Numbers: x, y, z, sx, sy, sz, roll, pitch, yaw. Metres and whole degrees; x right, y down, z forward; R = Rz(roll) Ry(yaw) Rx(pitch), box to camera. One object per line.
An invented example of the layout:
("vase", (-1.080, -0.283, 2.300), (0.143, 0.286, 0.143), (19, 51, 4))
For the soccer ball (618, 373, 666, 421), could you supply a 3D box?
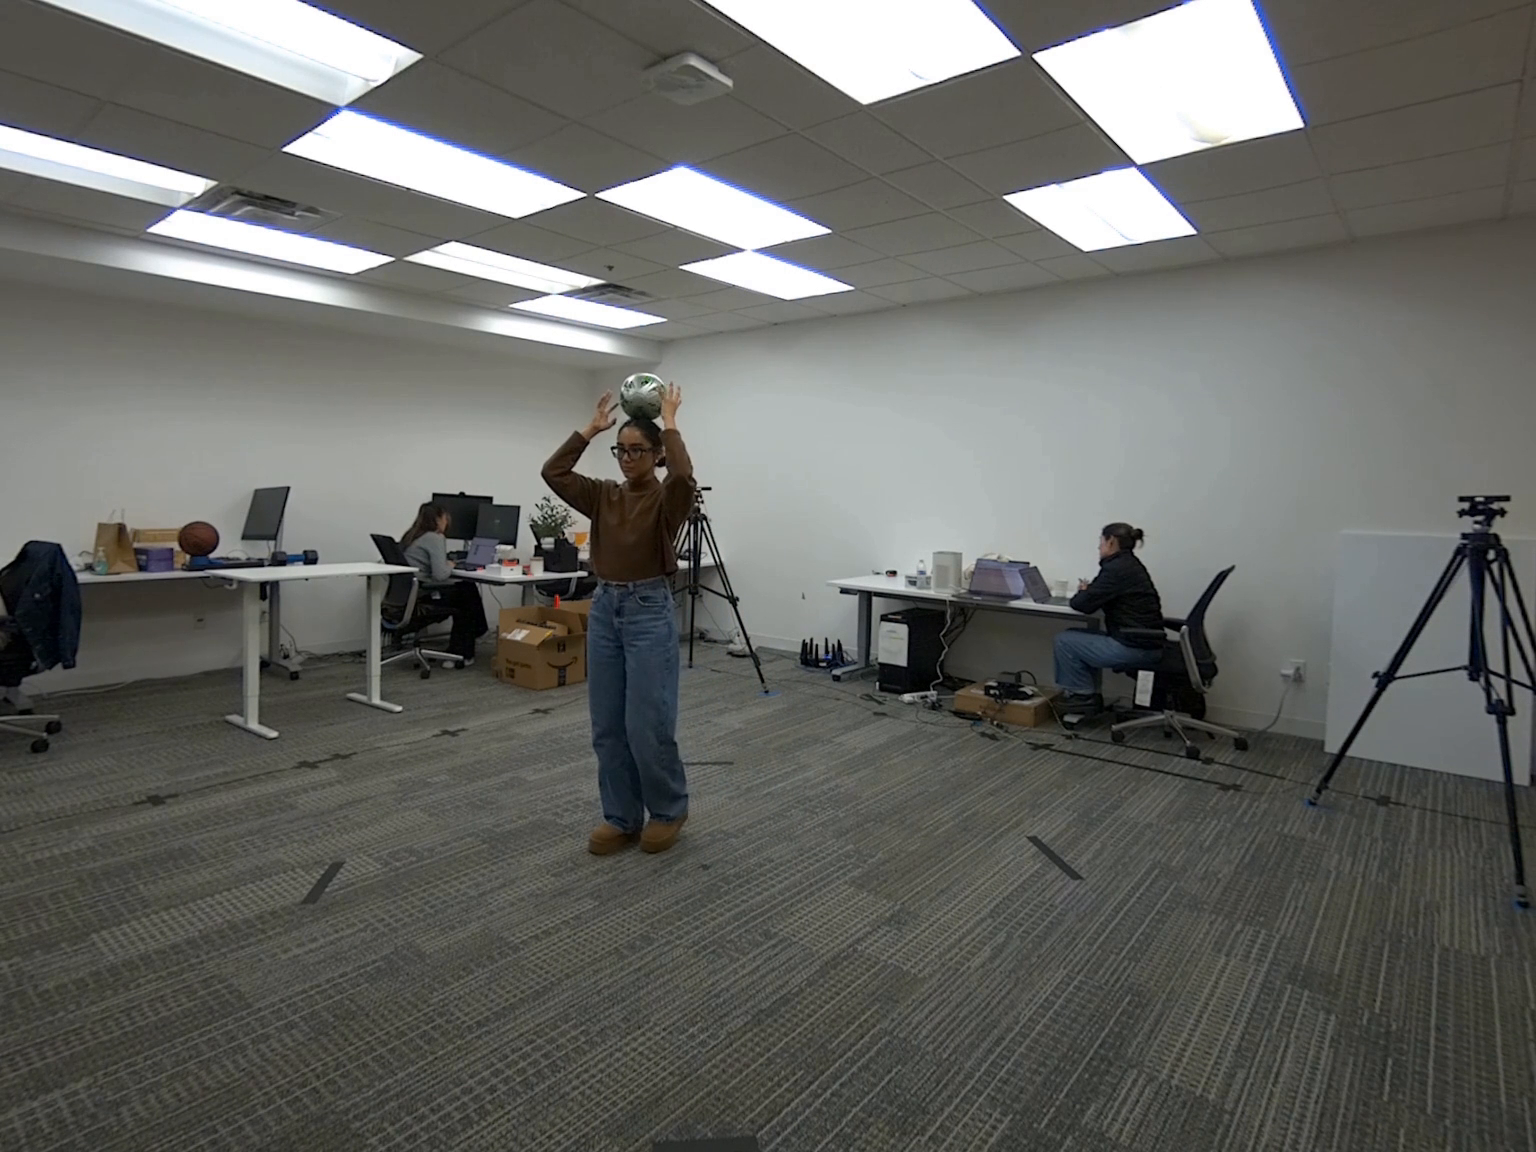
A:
("soccer ball", (-0.482, -0.687, 3.279), (0.187, 0.187, 0.188), (1, 4, -2))
